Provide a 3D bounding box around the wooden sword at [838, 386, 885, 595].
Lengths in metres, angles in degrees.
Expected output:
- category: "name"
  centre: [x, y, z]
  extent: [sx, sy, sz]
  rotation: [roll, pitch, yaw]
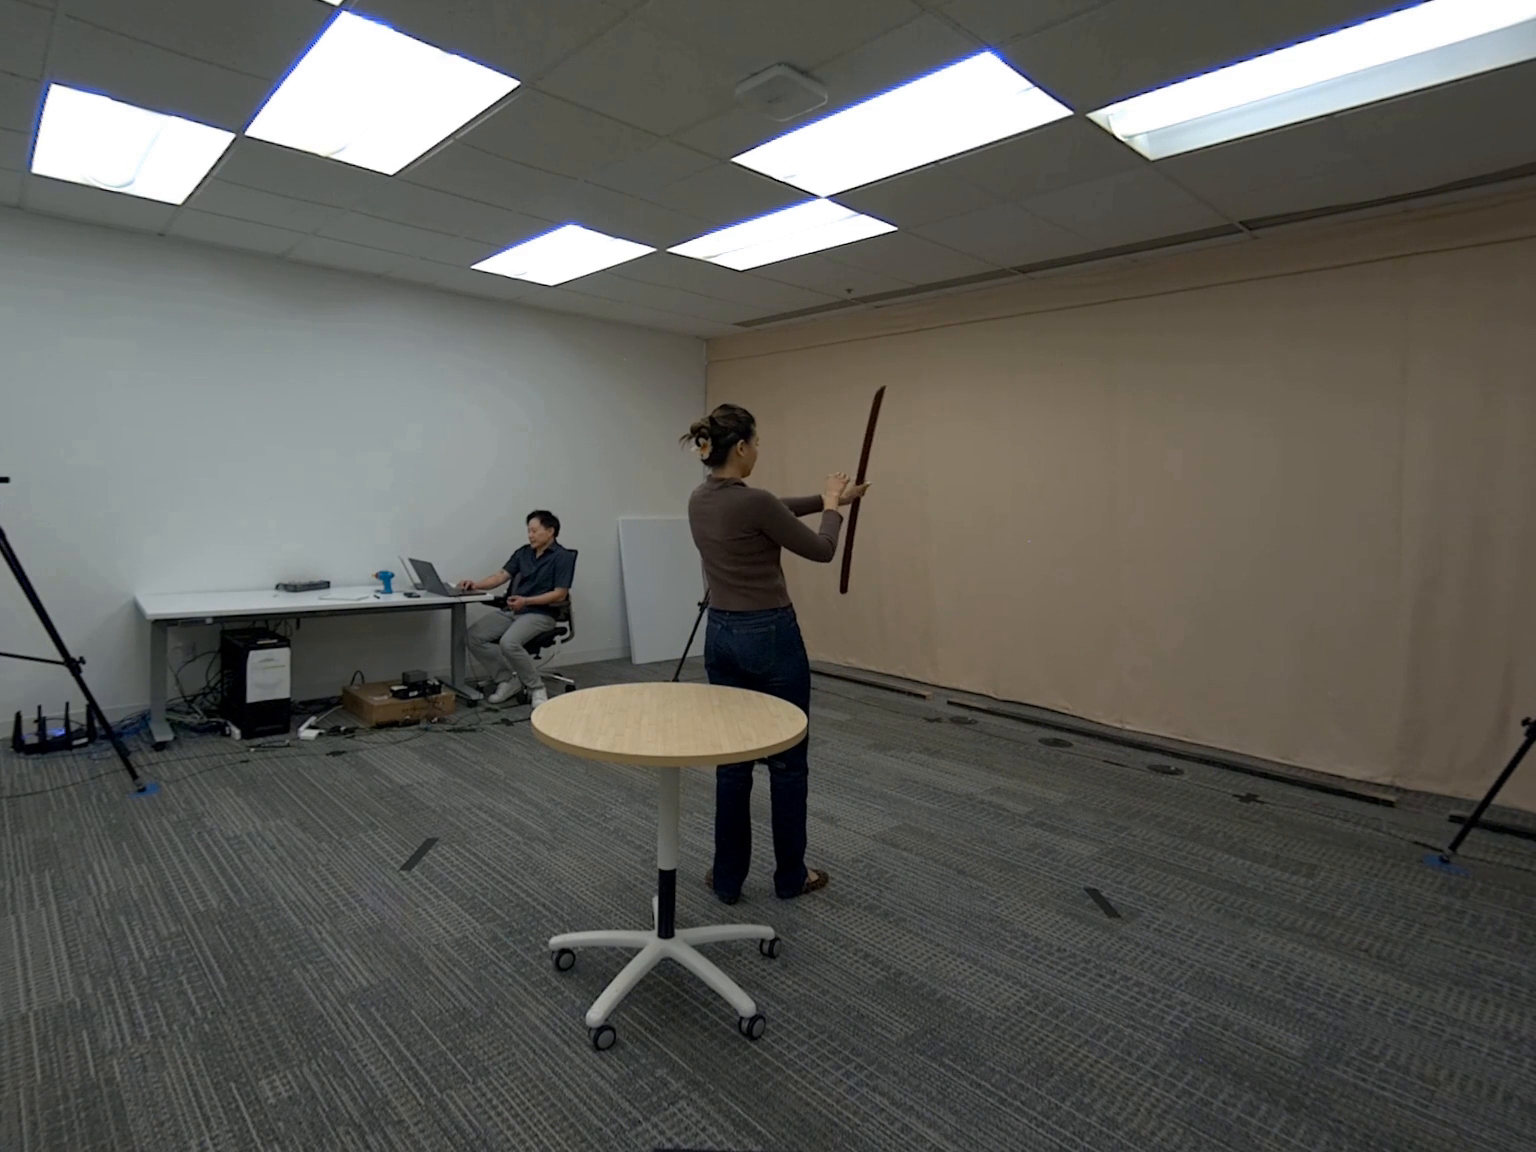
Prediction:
- category: "wooden sword"
  centre: [0.339, -0.288, 3.203]
  extent: [0.051, 1.004, 0.025]
  rotation: [-1, 44, -7]
